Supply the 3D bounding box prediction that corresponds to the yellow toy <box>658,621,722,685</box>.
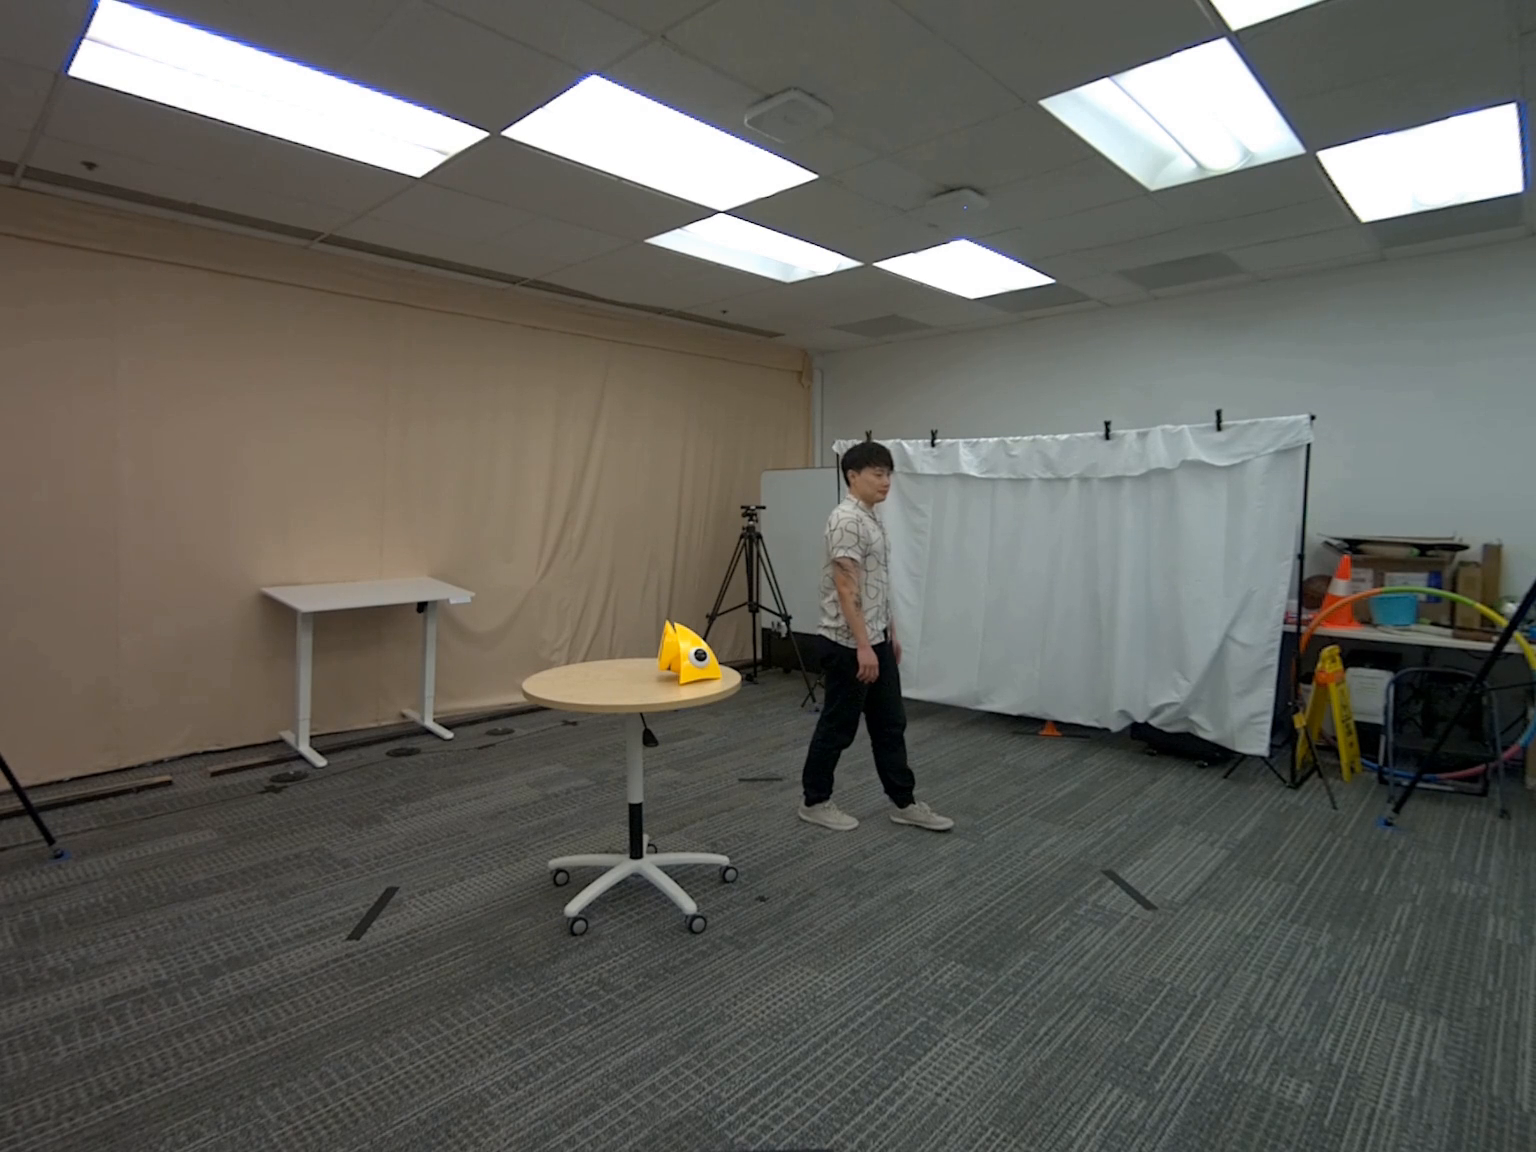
[{"bbox_3d":[-0.255,0.274,2.950,0.229,0.193,0.207,11,2,-8],"label":"yellow toy"}]
